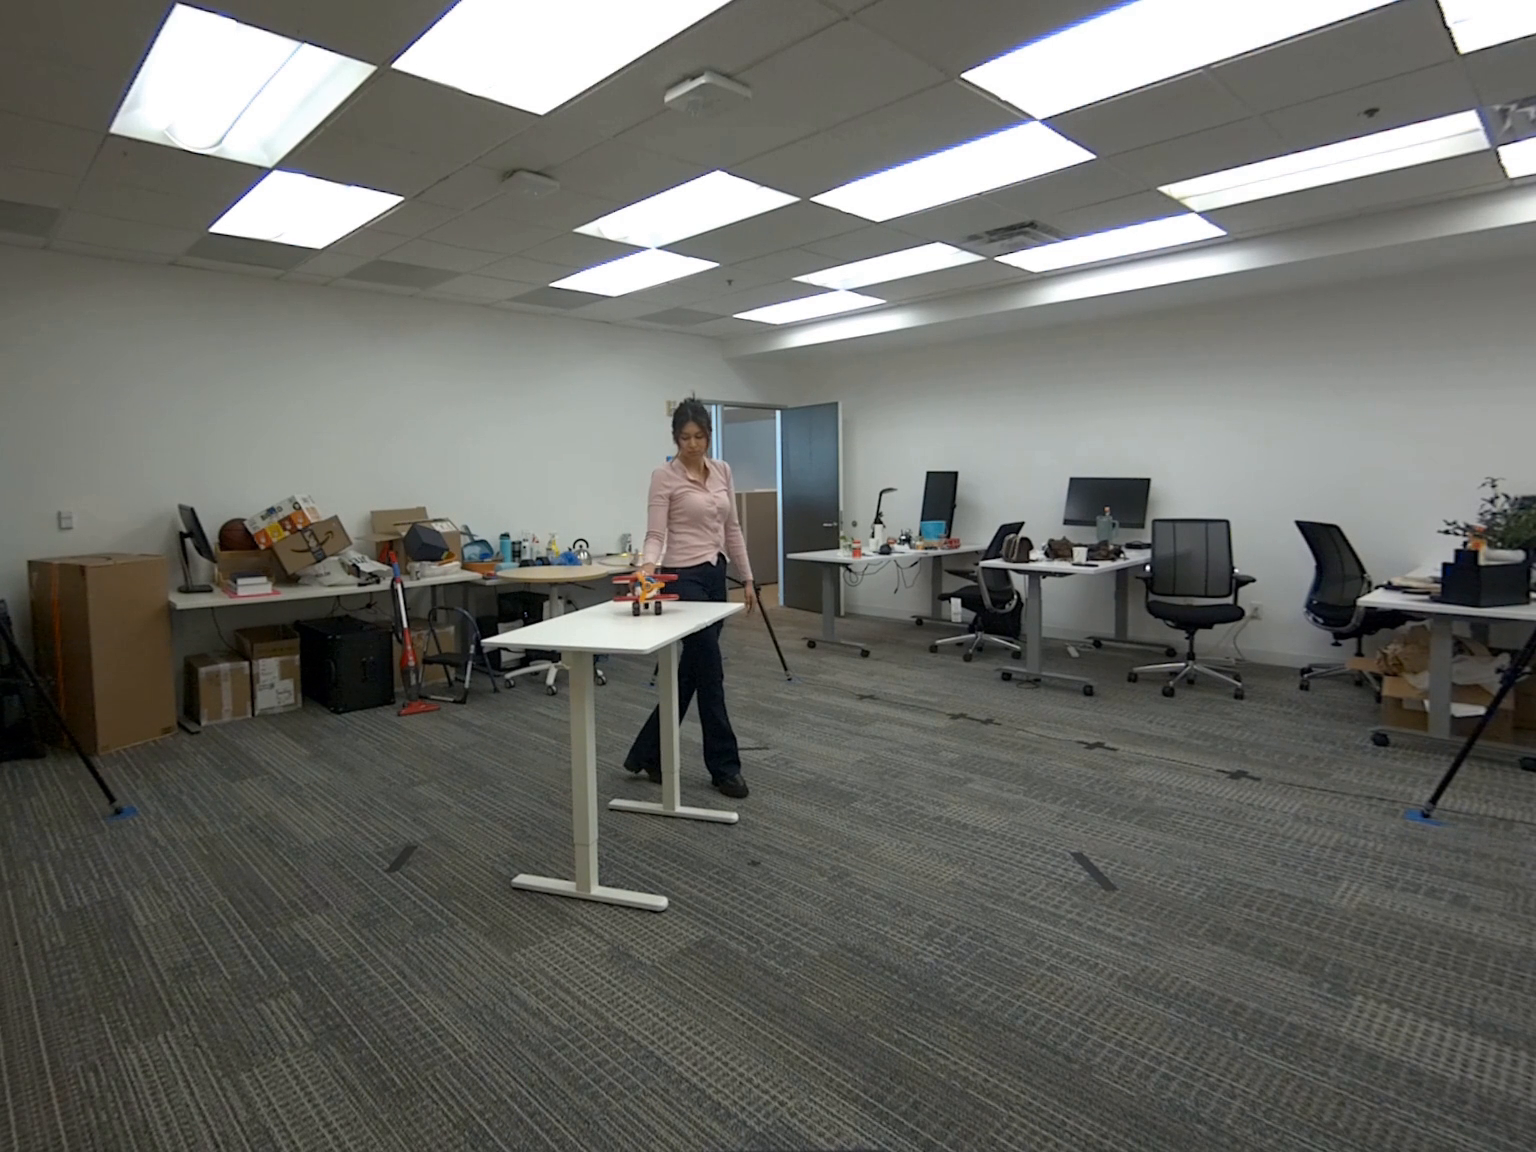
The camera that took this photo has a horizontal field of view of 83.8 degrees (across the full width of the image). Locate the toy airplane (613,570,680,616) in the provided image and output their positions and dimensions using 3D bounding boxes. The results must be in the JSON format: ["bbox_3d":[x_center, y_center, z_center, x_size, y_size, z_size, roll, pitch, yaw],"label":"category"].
[{"bbox_3d":[-0.508,0.069,3.362,0.244,0.156,0.267,-5,8,-38],"label":"toy airplane"}]
